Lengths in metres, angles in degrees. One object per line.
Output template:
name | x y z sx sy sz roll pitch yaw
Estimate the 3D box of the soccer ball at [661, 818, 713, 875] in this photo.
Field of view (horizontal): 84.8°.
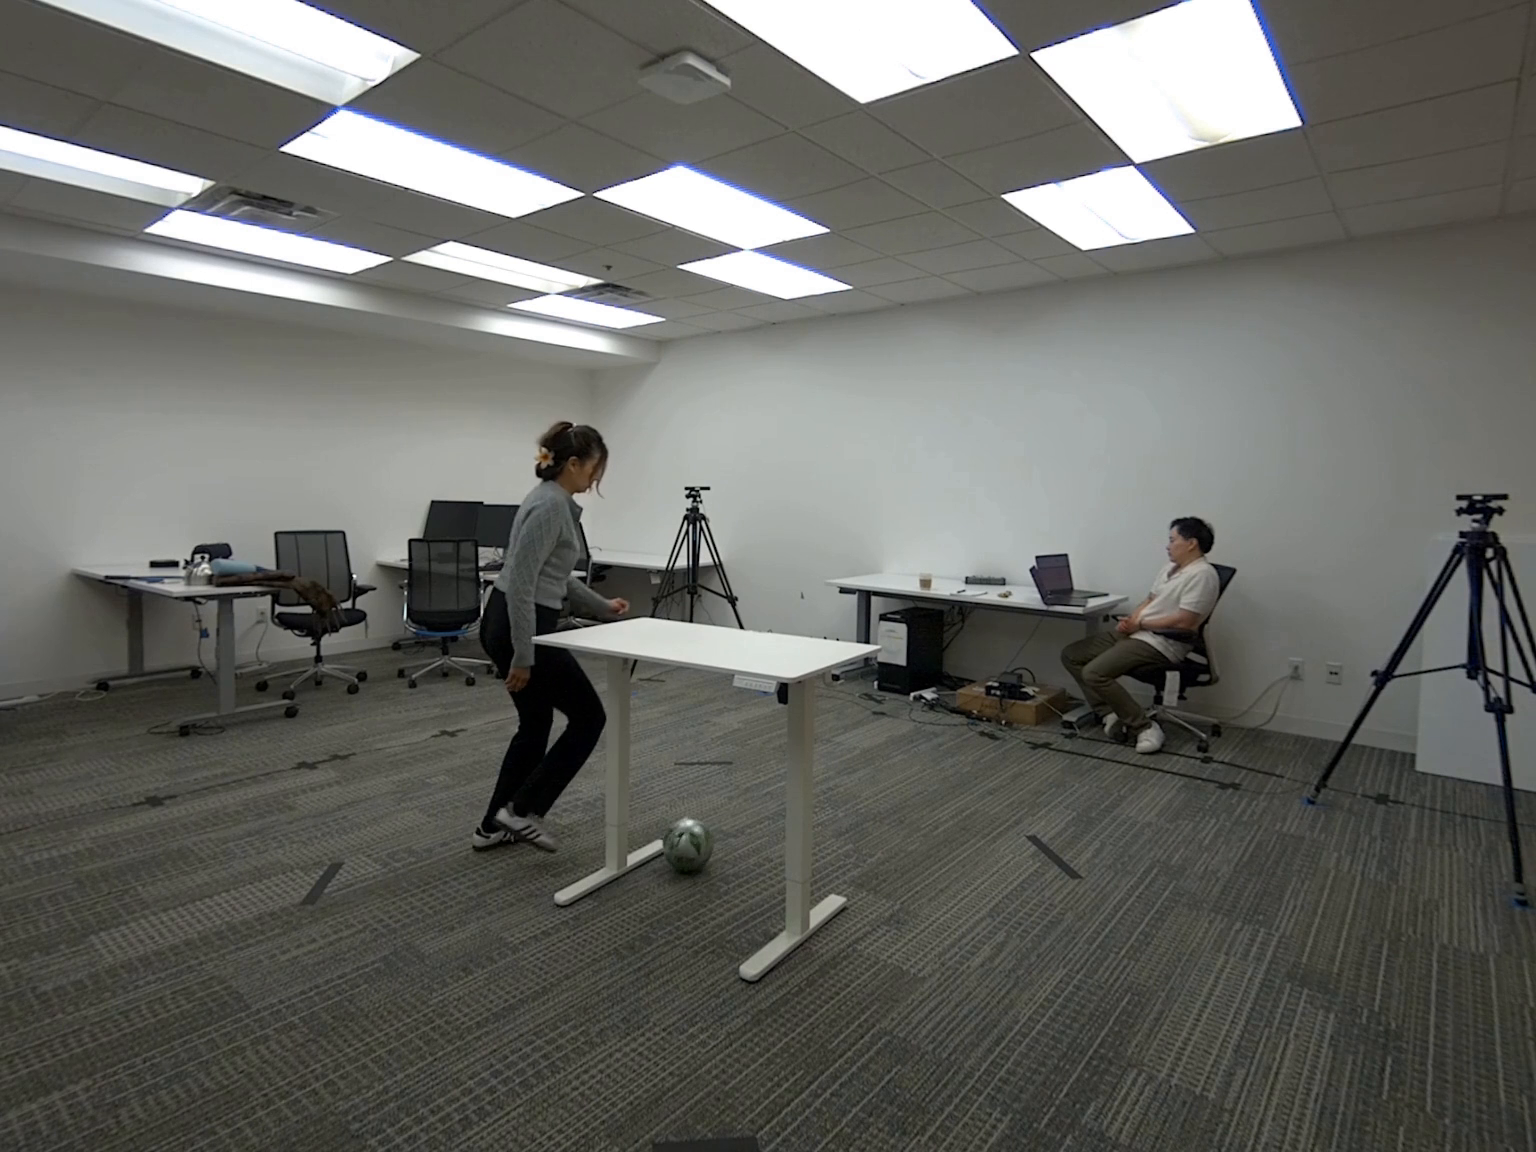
soccer ball | -0.297 0.974 3.083 0.187 0.187 0.188 0 4 -2
